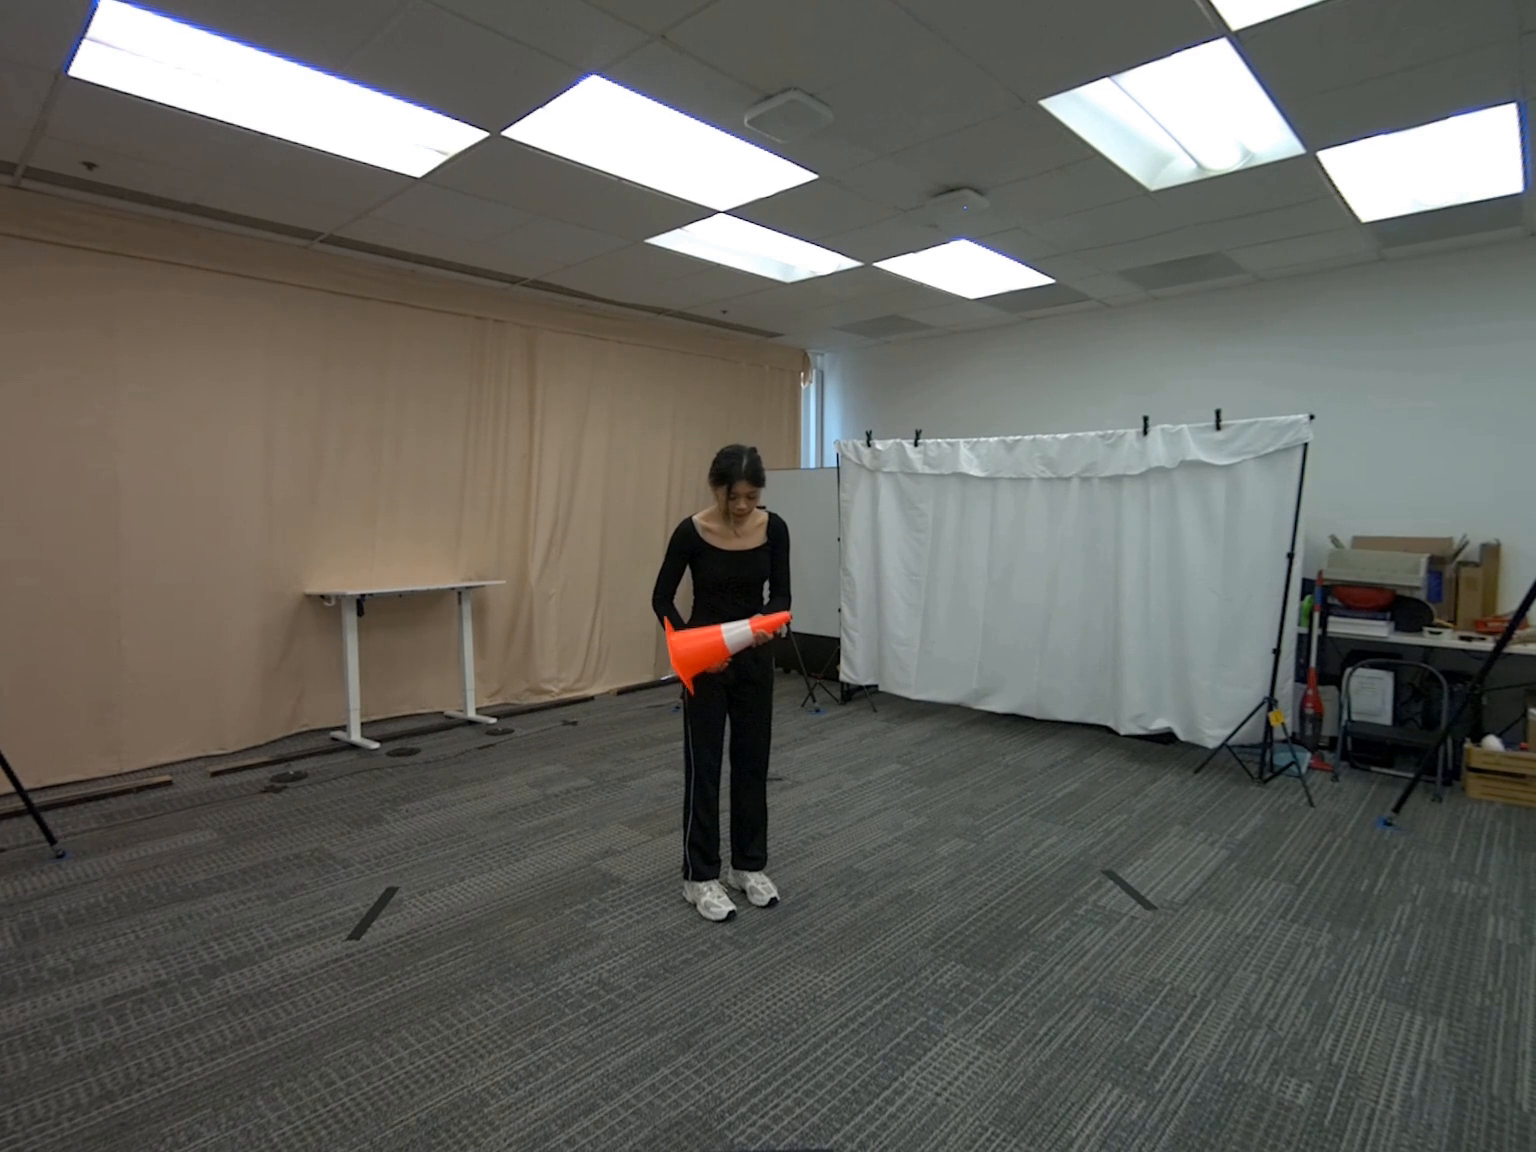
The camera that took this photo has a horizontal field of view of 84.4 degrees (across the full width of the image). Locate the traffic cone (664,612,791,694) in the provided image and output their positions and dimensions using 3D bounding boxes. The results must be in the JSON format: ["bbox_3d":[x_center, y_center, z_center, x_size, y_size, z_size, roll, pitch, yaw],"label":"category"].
[{"bbox_3d":[-0.111,0.199,2.680,0.385,0.210,0.197,-20,-39,6],"label":"traffic cone"}]
